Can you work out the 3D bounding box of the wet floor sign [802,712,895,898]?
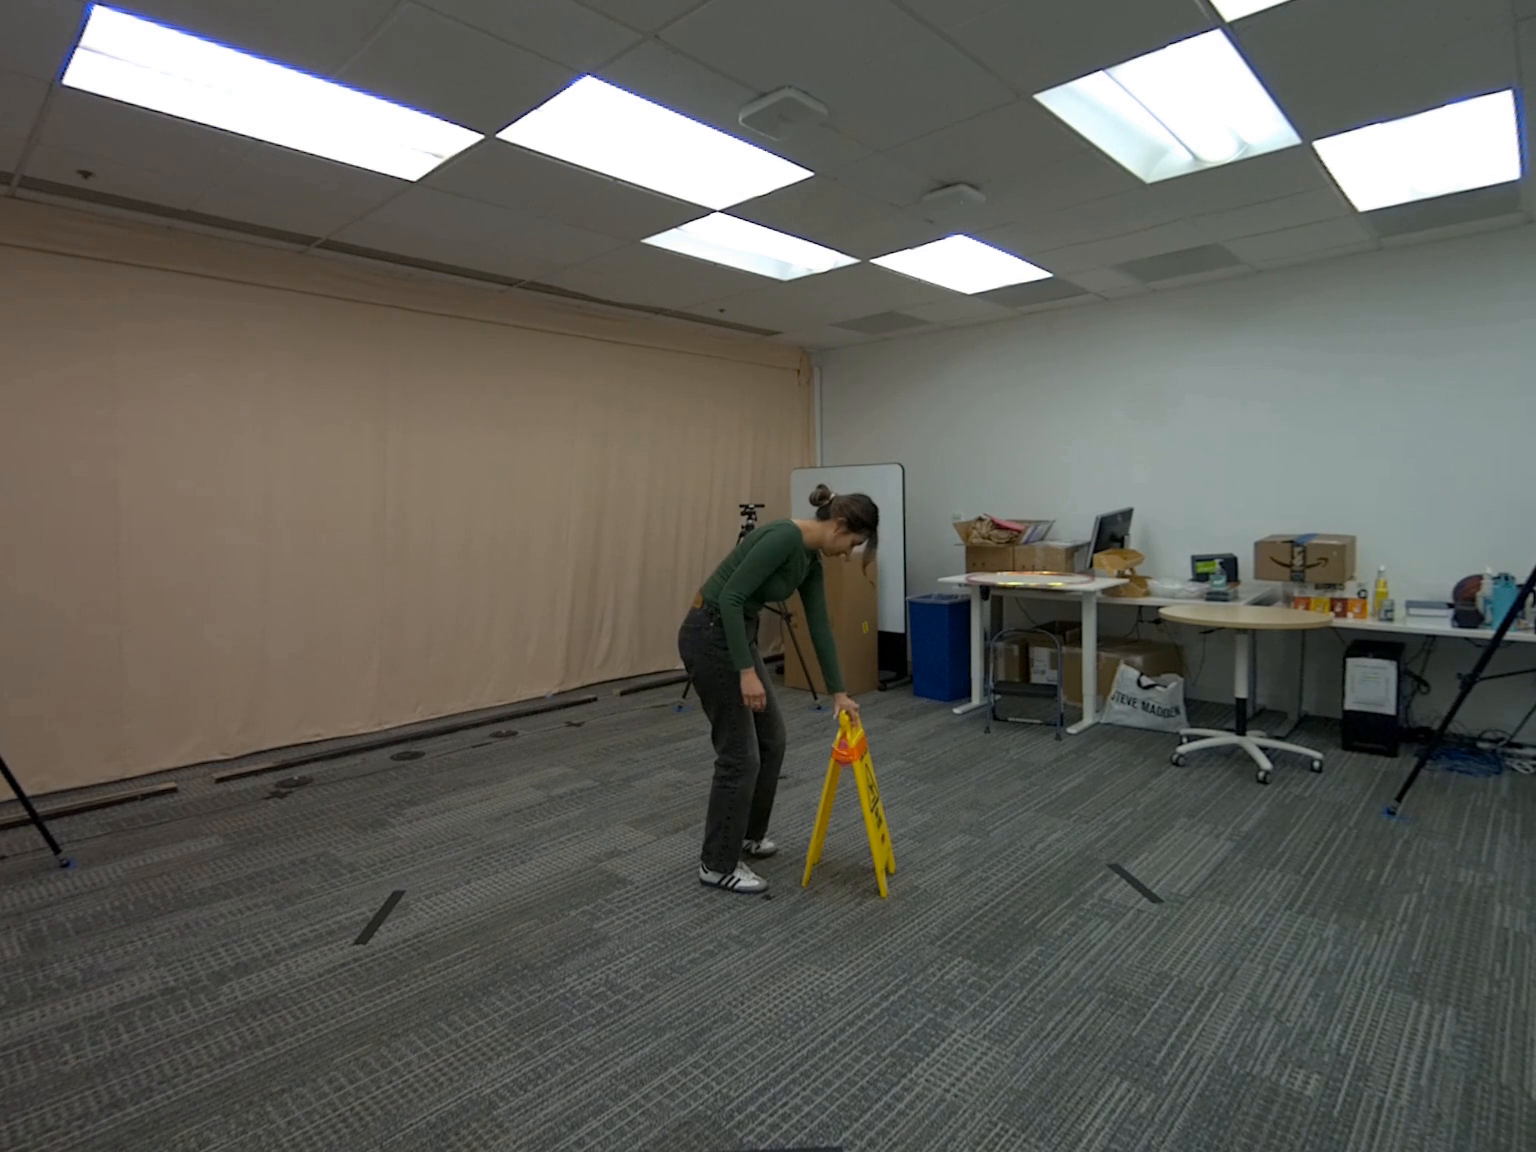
[{"bbox_3d":[0.300,0.797,3.114,0.295,0.645,0.277,0,3,18],"label":"wet floor sign"}]
